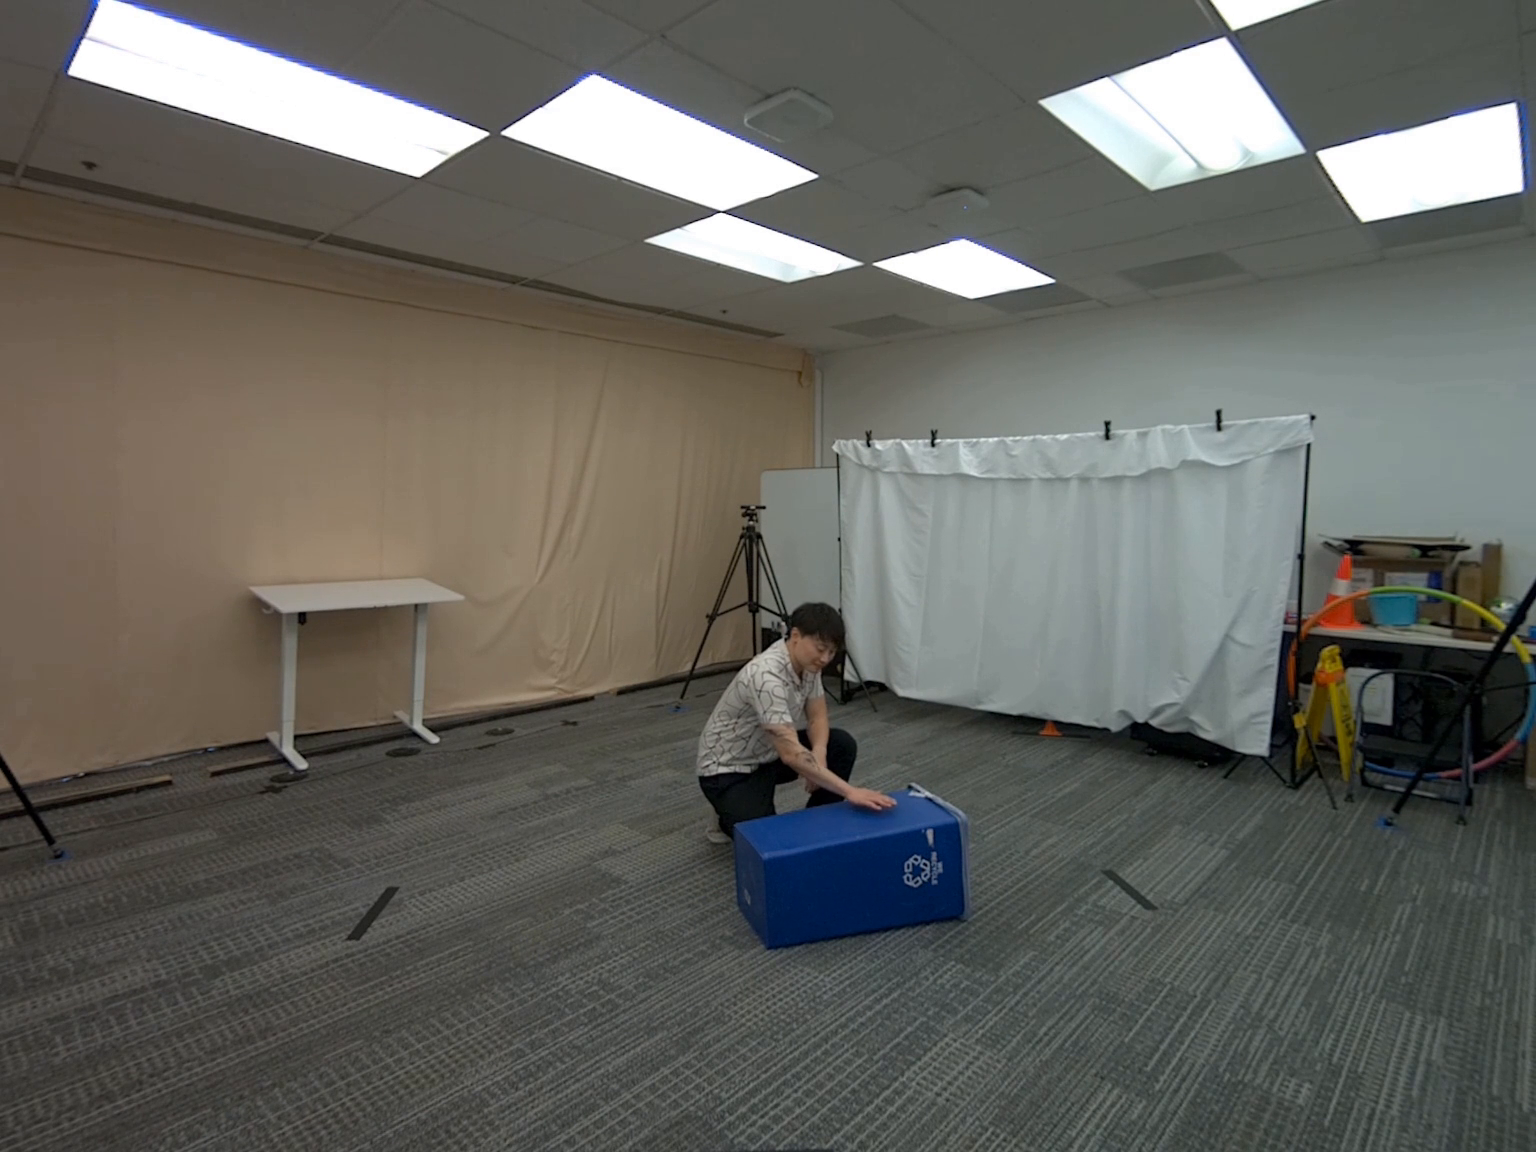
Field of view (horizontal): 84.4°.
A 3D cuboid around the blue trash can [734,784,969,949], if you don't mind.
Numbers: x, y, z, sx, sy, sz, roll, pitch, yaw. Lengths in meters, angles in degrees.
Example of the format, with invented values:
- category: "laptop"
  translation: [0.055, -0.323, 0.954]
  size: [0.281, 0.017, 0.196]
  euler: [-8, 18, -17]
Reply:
- category: "blue trash can"
  translation: [0.277, 0.985, 2.868]
  size: [0.702, 0.373, 0.385]
  euler: [-5, 5, -17]
